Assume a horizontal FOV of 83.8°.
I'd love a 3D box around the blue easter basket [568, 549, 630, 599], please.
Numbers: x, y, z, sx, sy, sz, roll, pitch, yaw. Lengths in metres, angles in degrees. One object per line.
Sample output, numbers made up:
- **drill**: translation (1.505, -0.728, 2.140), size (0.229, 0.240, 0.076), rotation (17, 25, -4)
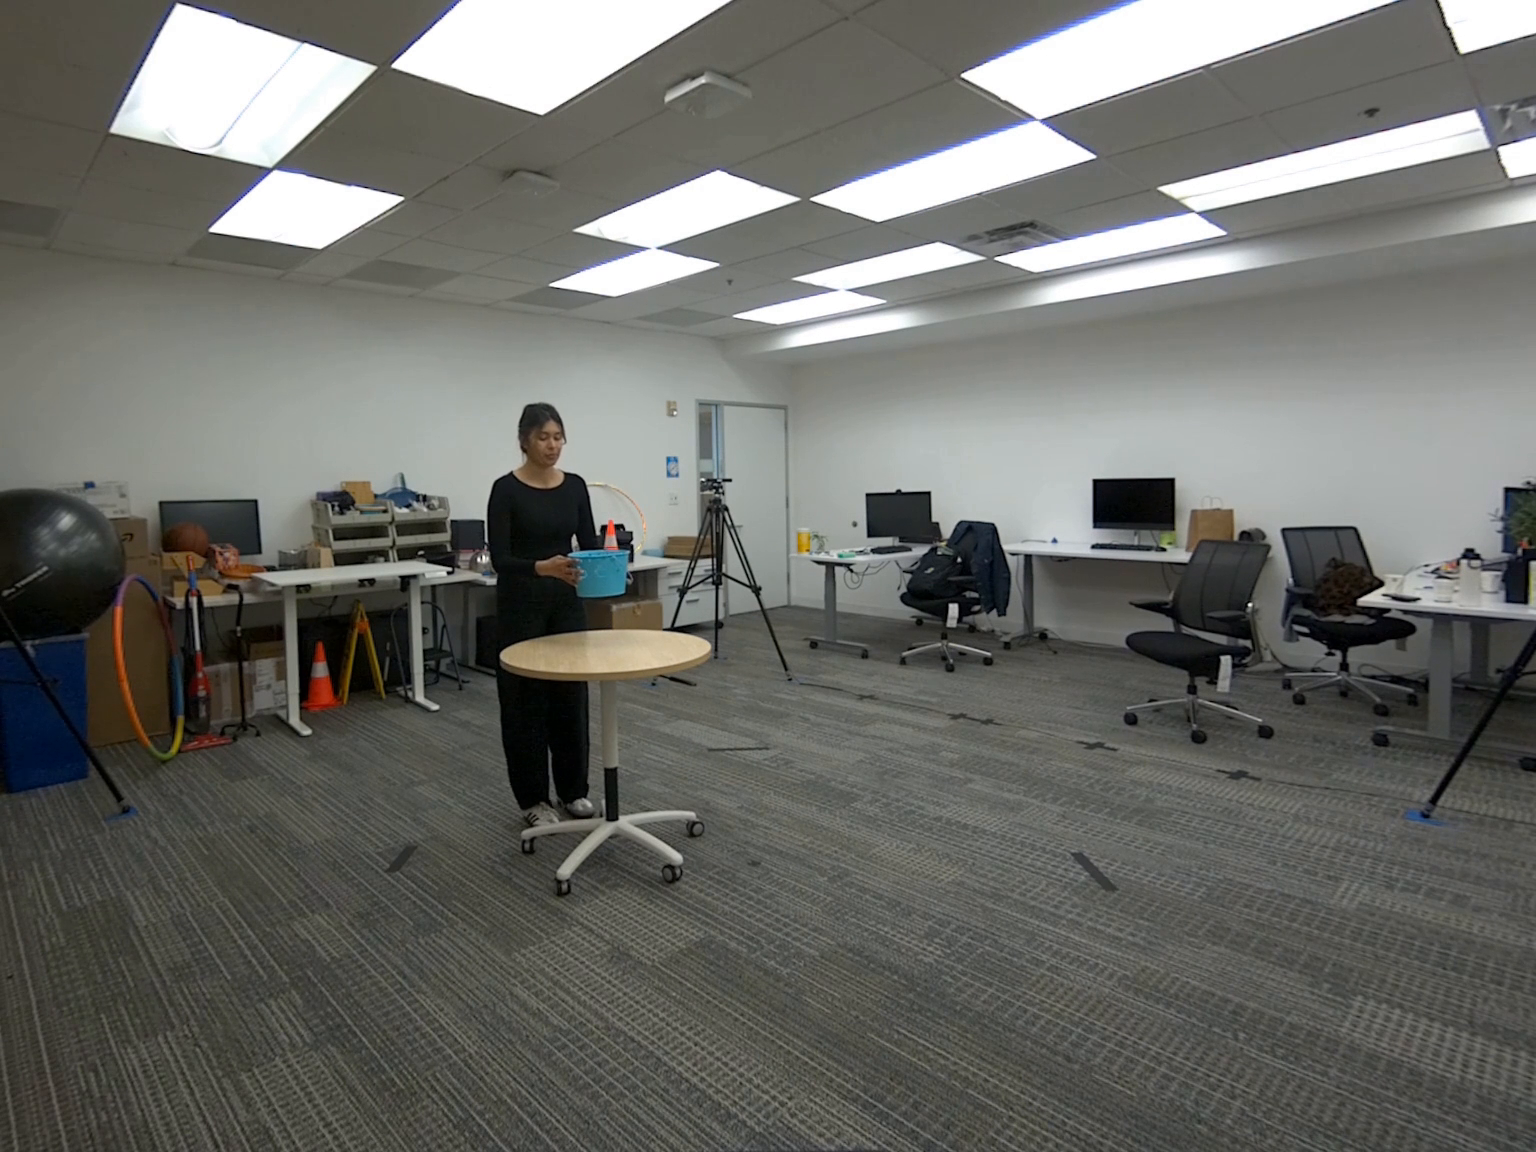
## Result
- **blue easter basket**: translation (-0.635, -0.009, 3.207), size (0.243, 0.155, 0.245), rotation (-3, 5, -1)
